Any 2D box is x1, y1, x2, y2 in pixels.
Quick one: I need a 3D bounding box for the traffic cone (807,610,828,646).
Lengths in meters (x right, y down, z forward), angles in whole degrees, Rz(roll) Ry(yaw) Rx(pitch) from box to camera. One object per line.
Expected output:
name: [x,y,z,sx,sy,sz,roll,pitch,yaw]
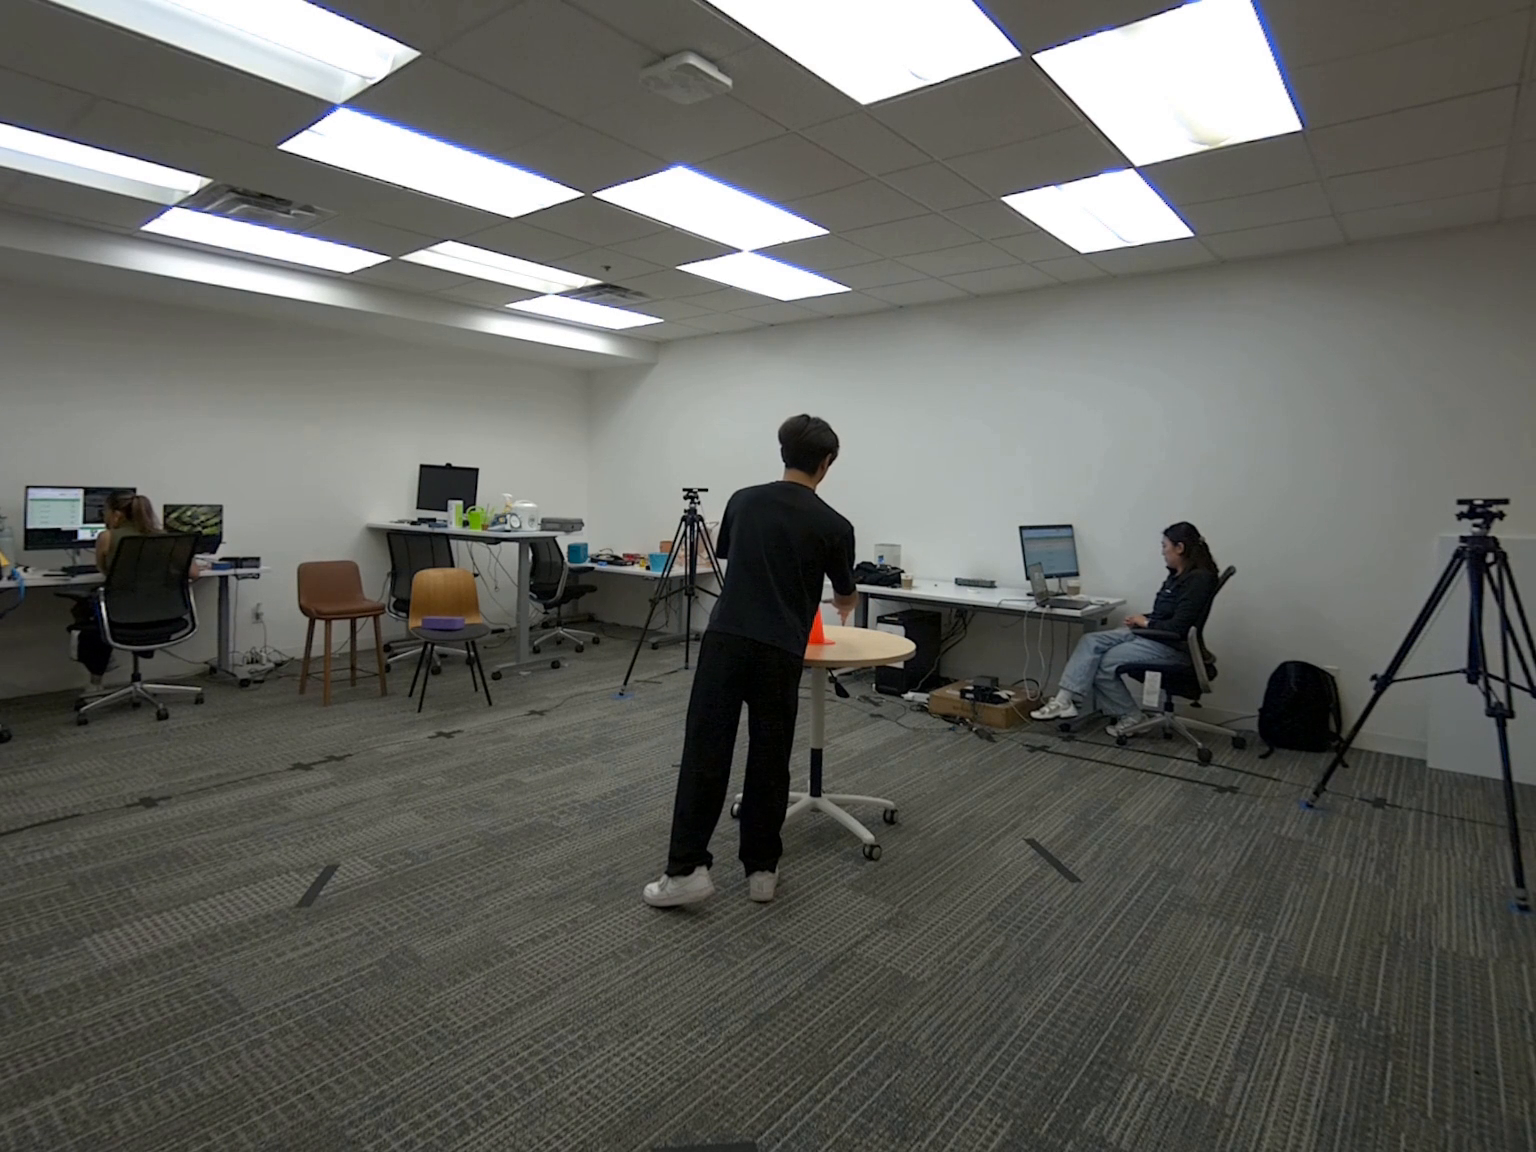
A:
traffic cone: [0.150,0.075,3.462,0.200,0.382,0.209,-1,4,-16]
